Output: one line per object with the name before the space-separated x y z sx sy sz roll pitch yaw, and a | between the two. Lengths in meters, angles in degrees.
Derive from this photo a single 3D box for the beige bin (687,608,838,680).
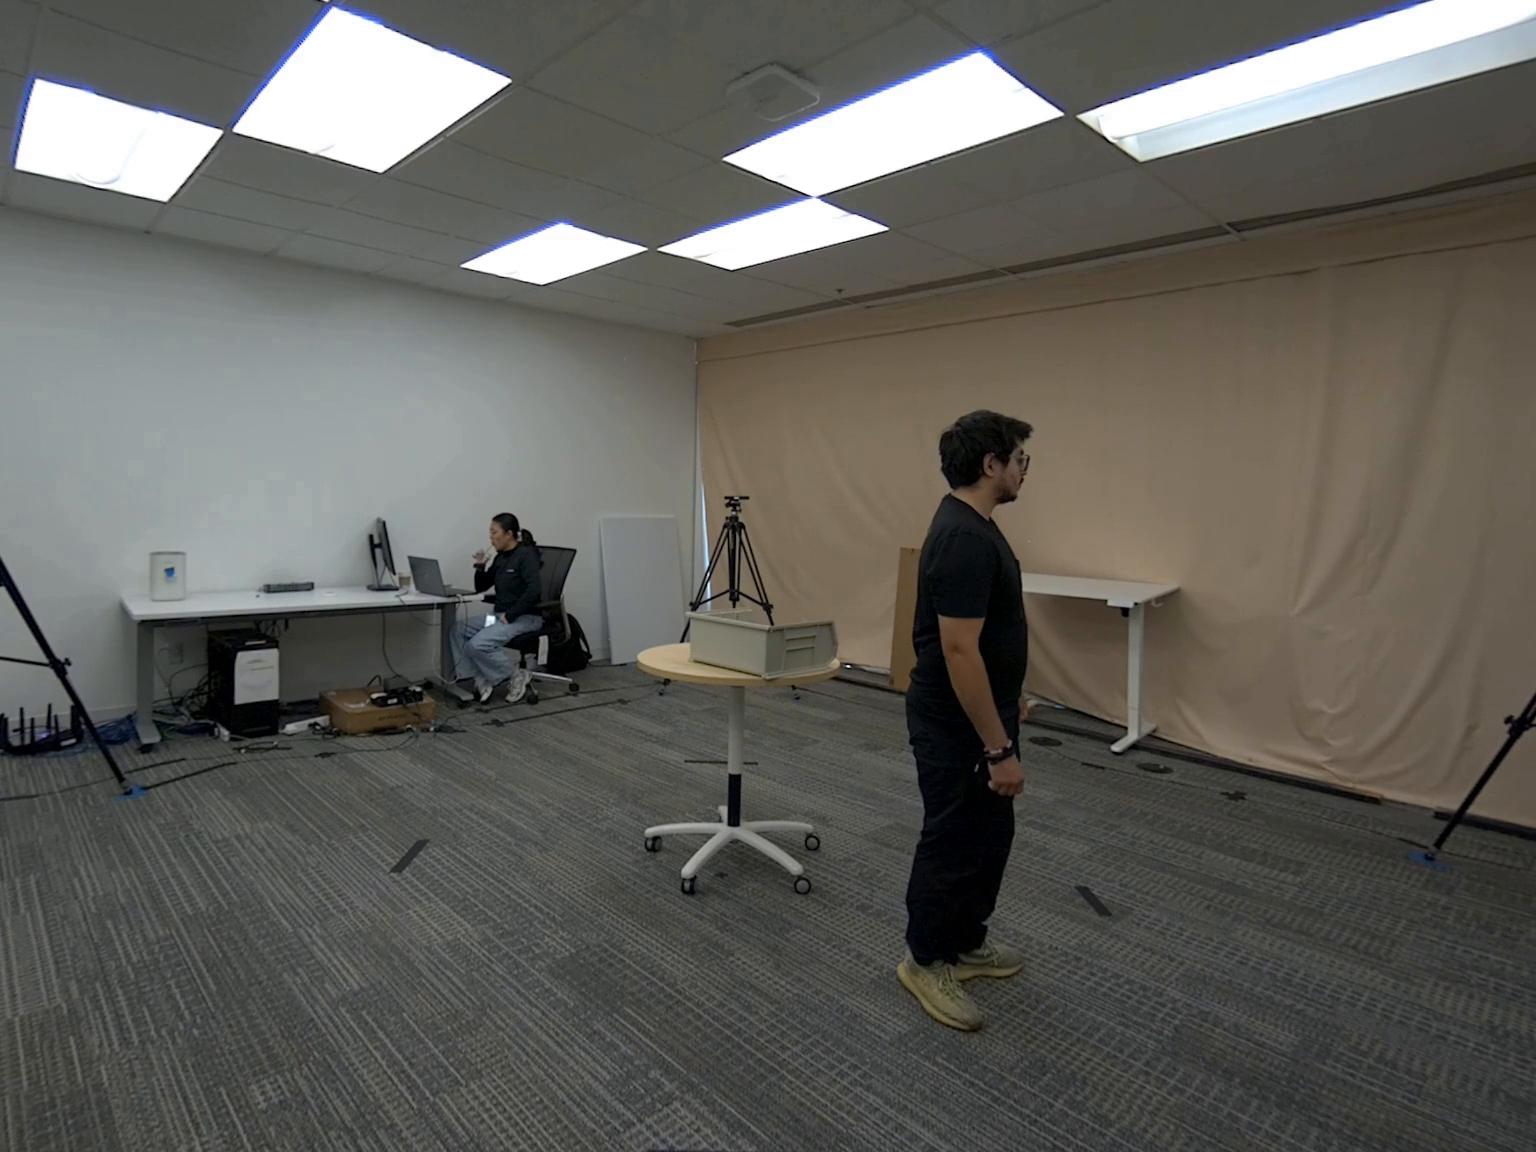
beige bin | -0.030 0.236 3.070 0.433 0.188 0.369 7 8 44
